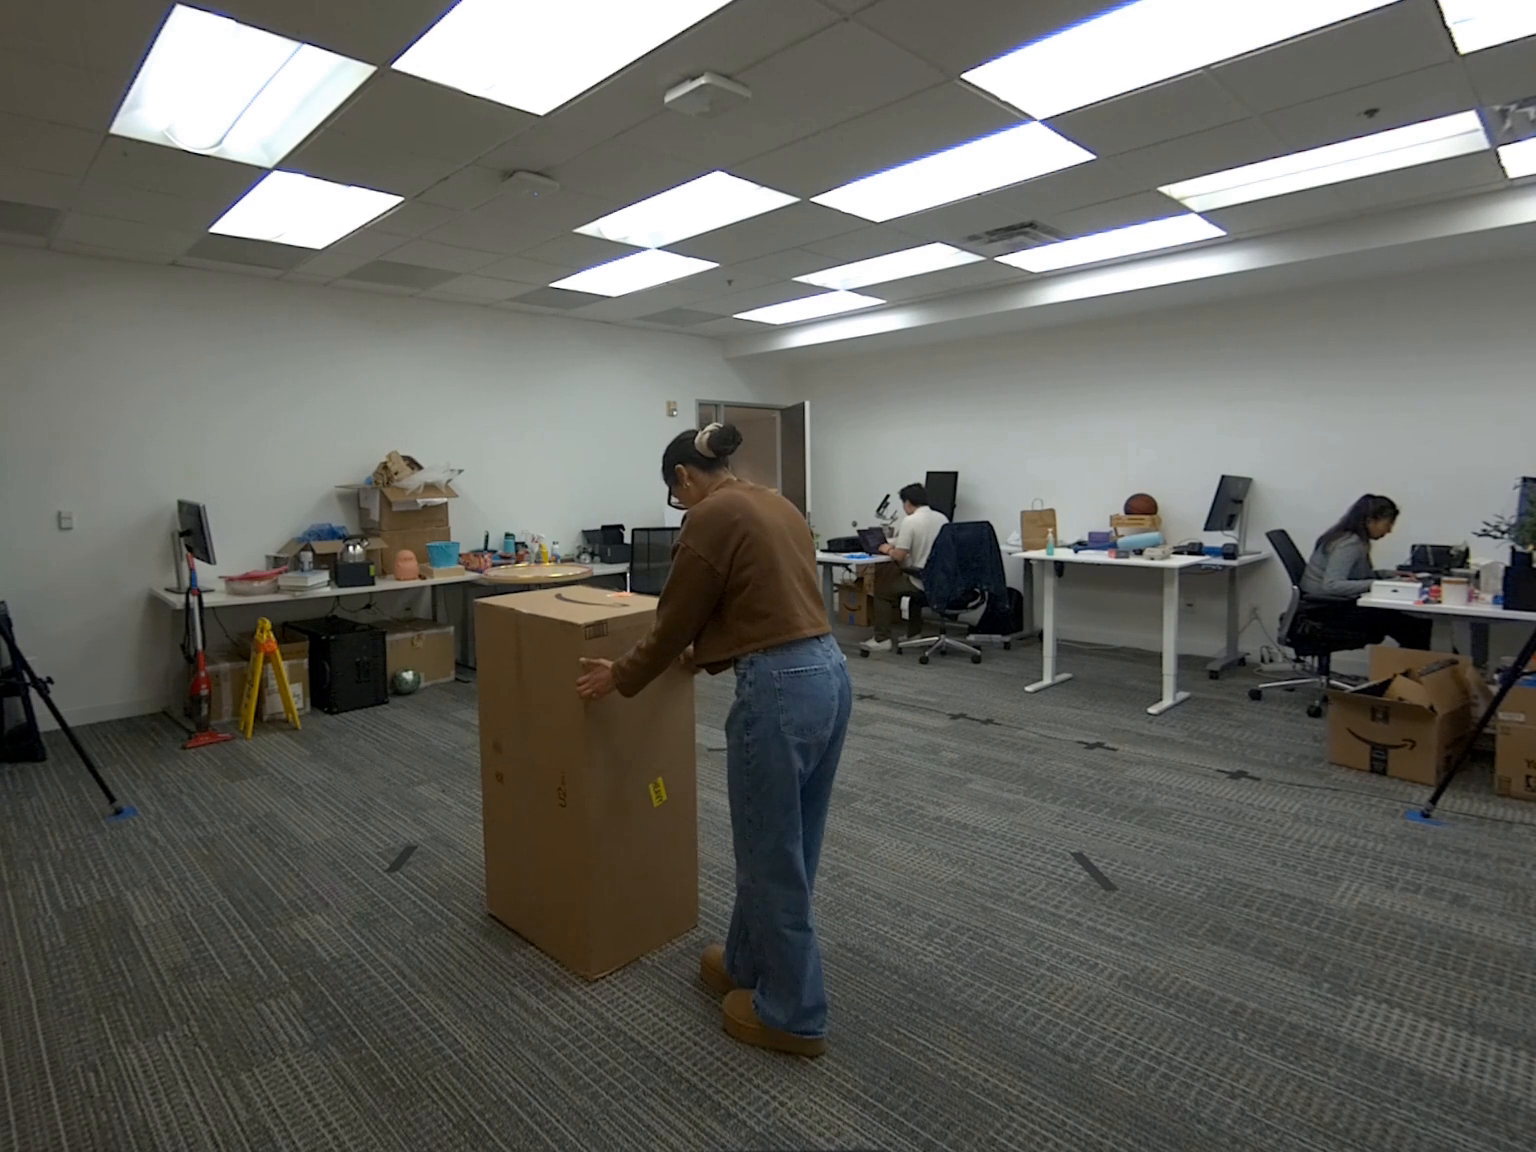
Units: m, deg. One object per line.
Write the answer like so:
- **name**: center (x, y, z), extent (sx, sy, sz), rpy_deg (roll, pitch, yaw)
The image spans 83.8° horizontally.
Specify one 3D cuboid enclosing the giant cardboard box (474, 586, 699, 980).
- **giant cardboard box**: center (-0.570, 0.589, 2.693), extent (0.596, 1.020, 0.415), rpy_deg (5, 8, 44)
